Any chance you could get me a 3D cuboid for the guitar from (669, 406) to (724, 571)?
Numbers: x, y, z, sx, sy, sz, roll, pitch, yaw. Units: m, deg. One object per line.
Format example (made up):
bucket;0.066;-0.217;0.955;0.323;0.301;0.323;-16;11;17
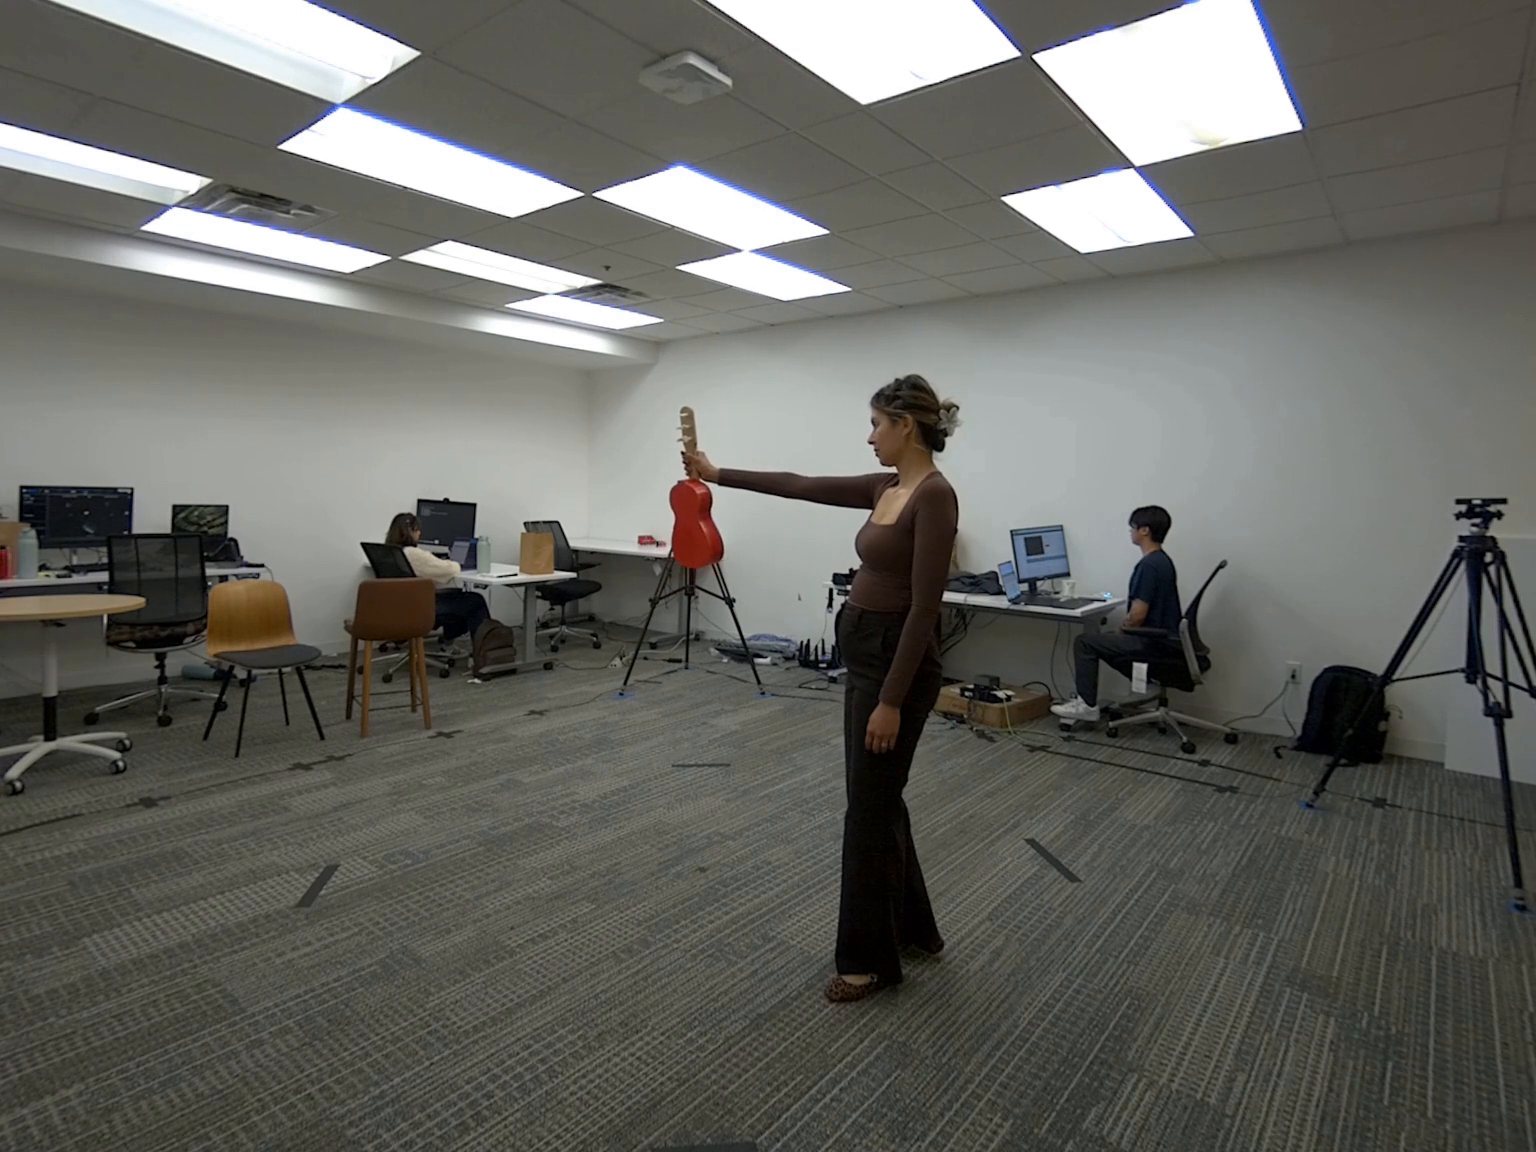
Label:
guitar;-0.268;-0.275;2.683;0.069;0.498;0.197;-13;0;-40
